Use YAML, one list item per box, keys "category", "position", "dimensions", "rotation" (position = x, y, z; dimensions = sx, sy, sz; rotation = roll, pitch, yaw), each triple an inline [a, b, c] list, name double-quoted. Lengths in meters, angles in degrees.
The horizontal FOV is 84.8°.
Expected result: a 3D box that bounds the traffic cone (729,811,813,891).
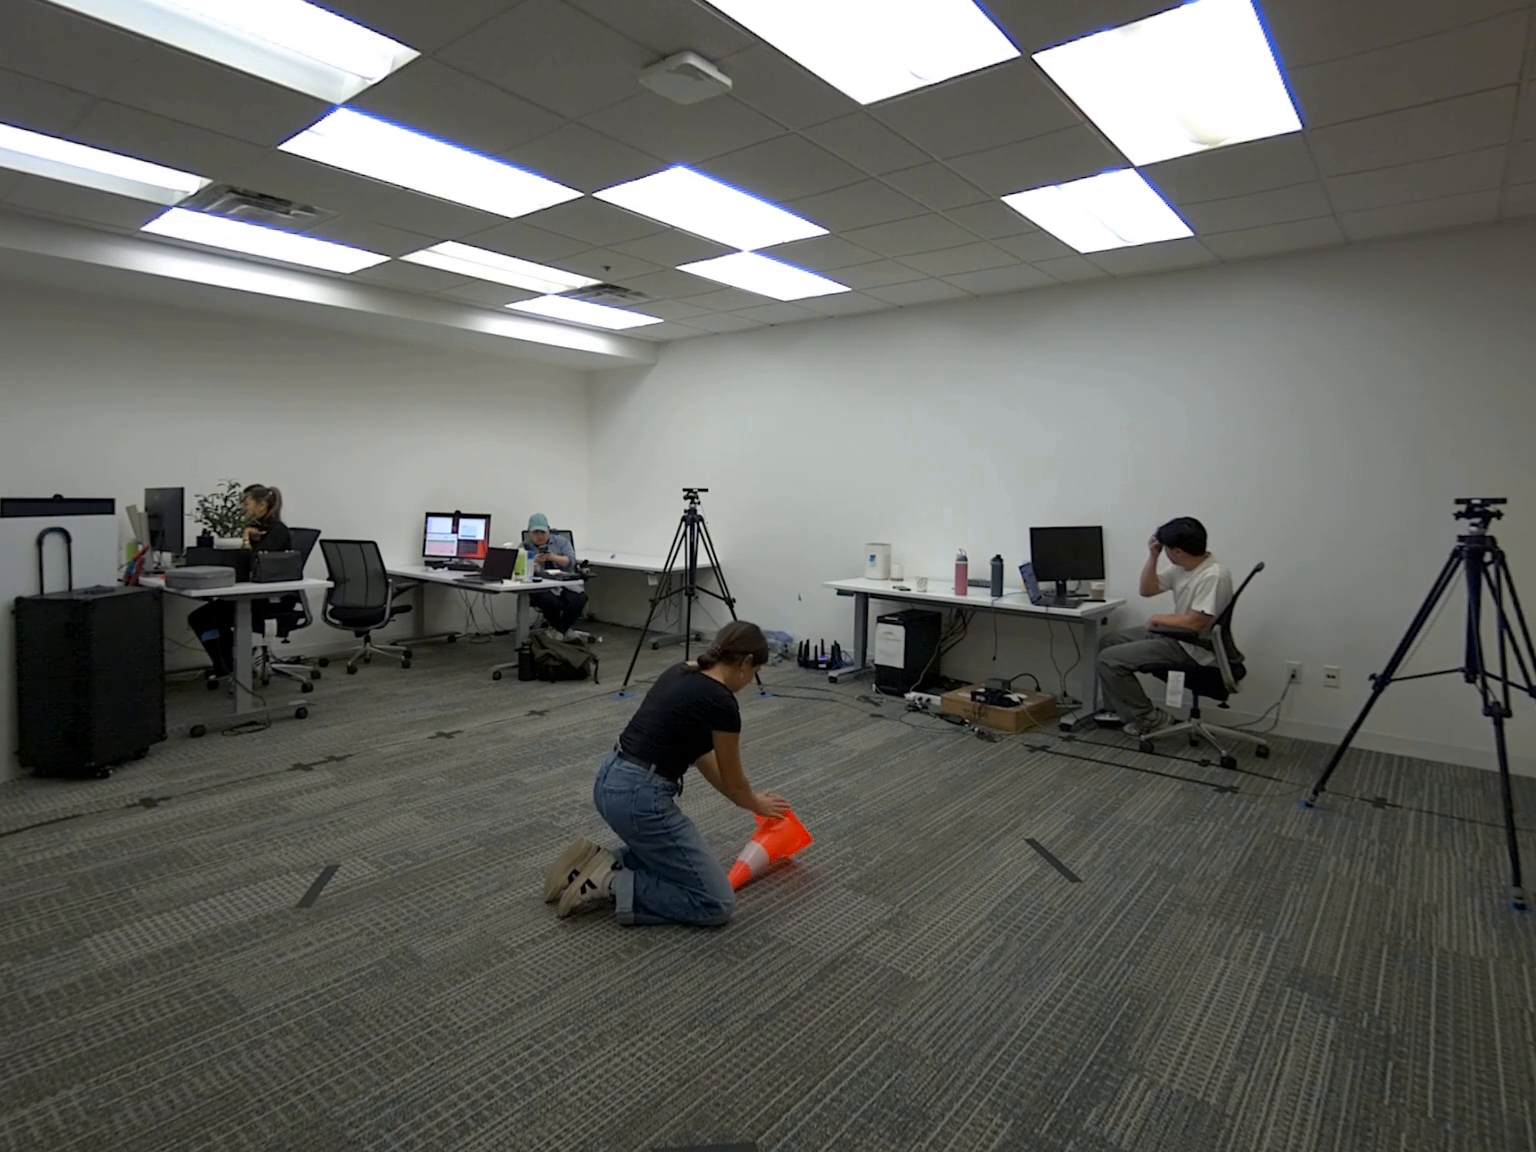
- category: "traffic cone"
  position: [-0.052, 1.008, 3.046]
  dimensions: [0.379, 0.206, 0.205]
  rotation: [-33, -11, -48]
